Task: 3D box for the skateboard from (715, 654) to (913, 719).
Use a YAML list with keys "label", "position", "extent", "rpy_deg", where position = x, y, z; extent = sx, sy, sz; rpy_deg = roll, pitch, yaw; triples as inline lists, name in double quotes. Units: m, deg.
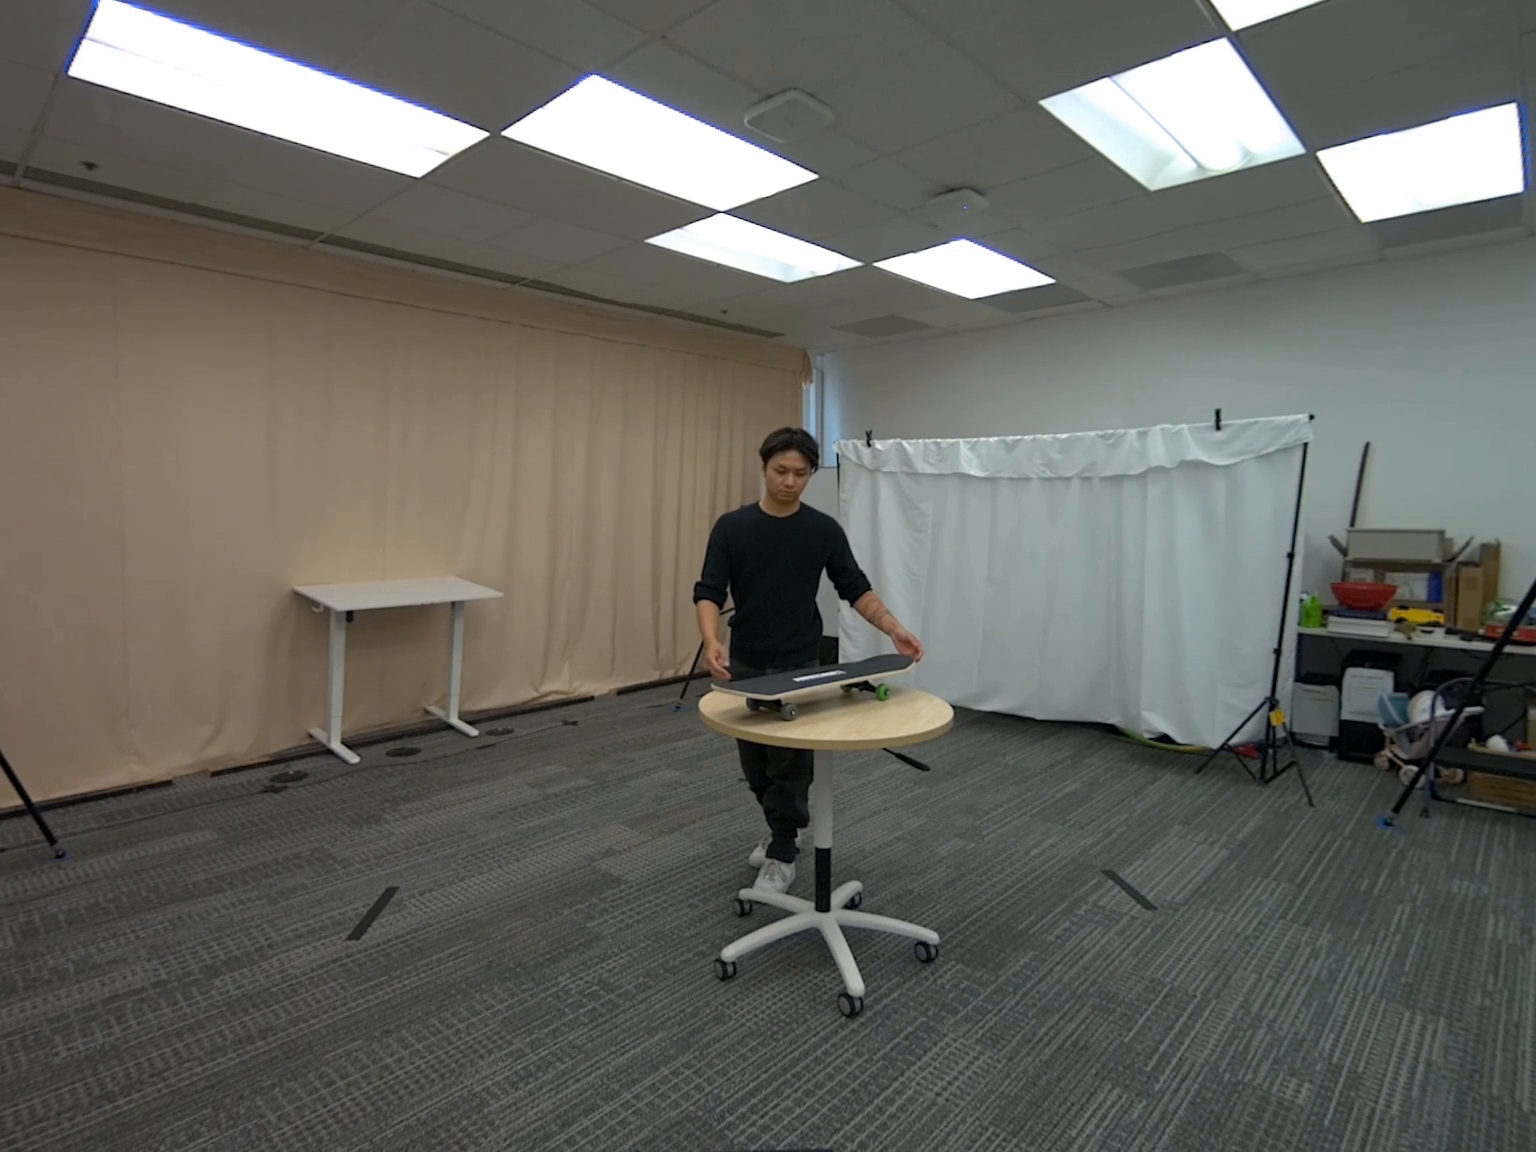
- label: "skateboard"
  position: [0.152, 0.343, 2.566]
  extent: [0.762, 0.110, 0.200]
  rpy_deg: [-5, 7, -39]
